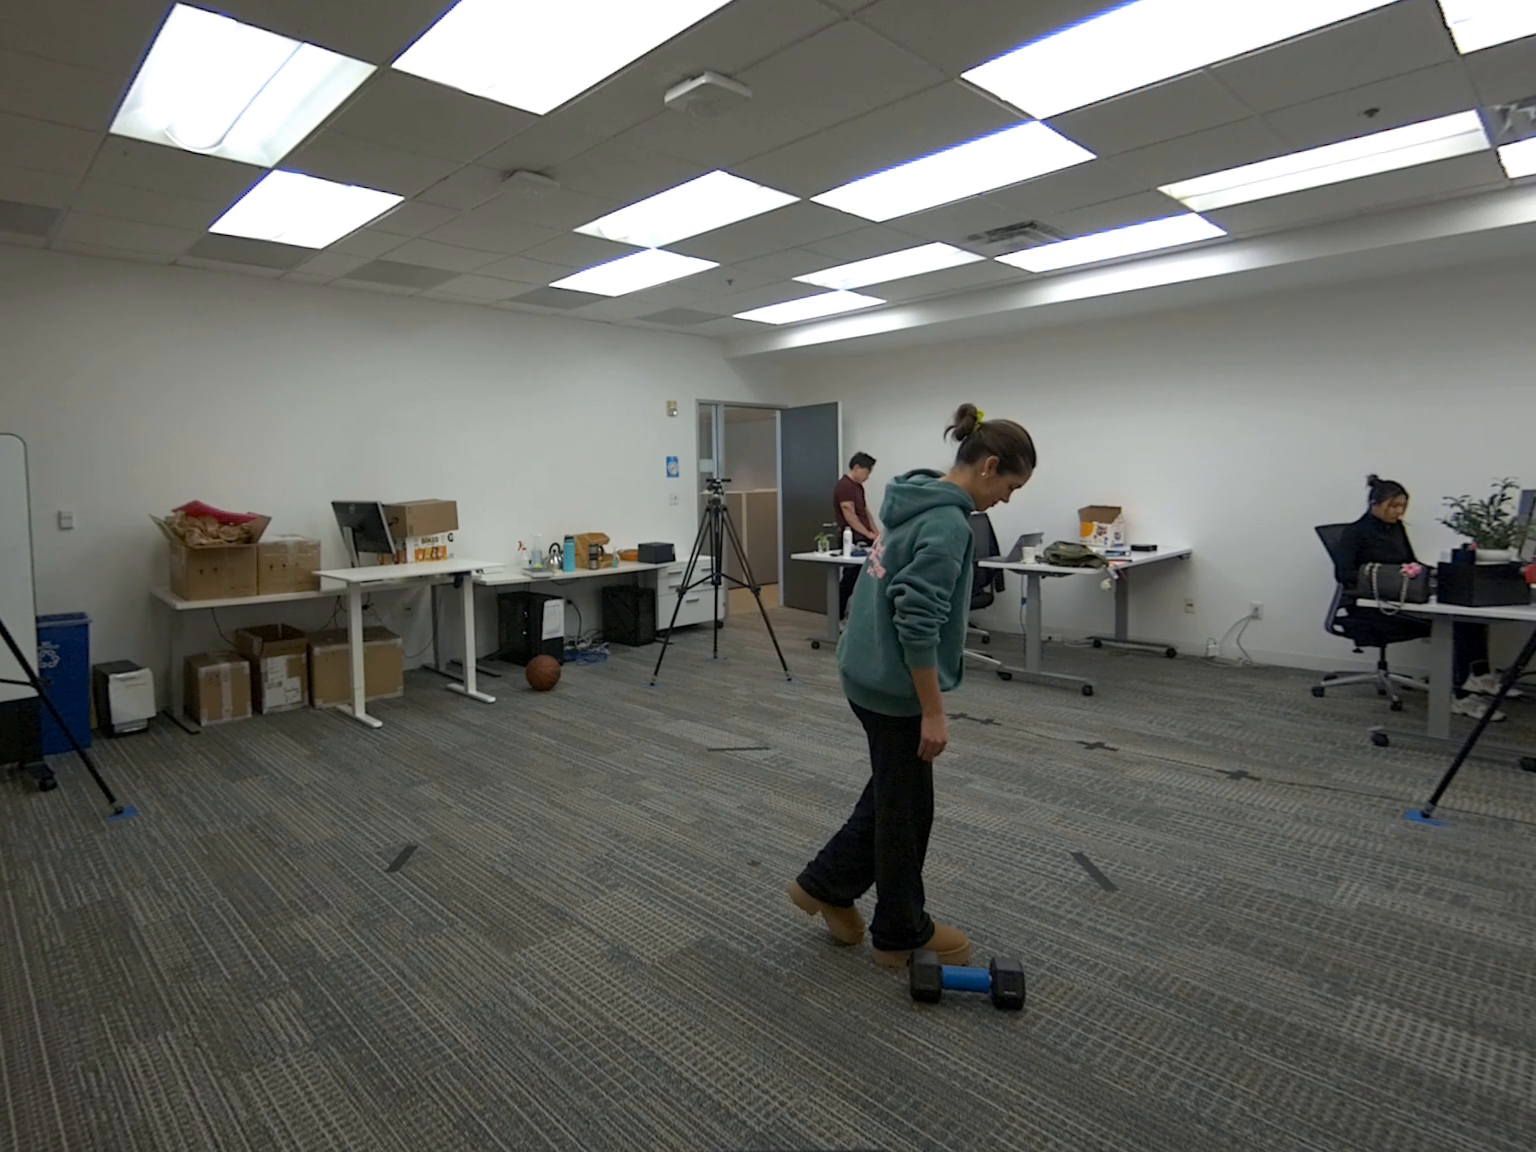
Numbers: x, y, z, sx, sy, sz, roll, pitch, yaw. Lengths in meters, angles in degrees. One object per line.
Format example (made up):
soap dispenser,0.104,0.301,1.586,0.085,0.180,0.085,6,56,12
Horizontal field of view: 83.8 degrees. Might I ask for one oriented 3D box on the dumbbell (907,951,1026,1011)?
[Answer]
dumbbell,0.536,1.080,2.272,0.296,0.119,0.111,-1,33,9
